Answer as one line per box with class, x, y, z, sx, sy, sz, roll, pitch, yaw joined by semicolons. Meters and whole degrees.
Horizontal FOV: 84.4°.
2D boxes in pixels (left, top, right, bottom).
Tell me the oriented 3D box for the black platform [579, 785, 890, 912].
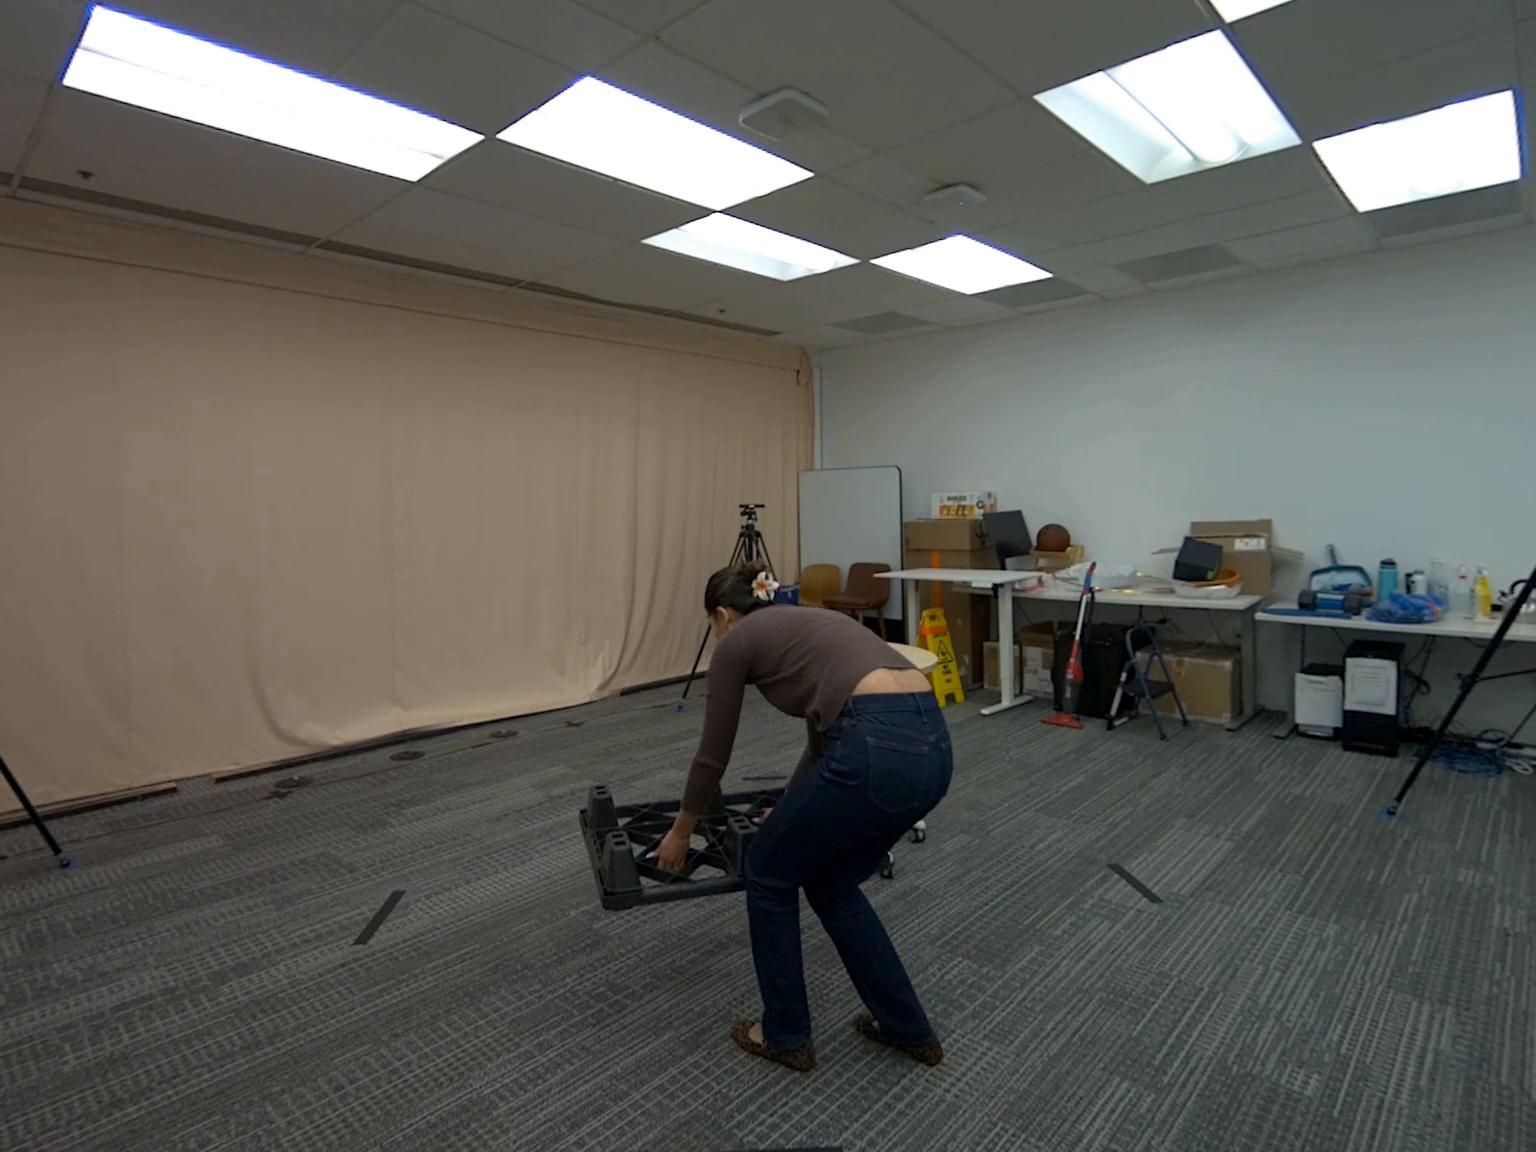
black platform;-0.133;0.734;2.488;0.793;0.143;0.617;-3;7;-16
